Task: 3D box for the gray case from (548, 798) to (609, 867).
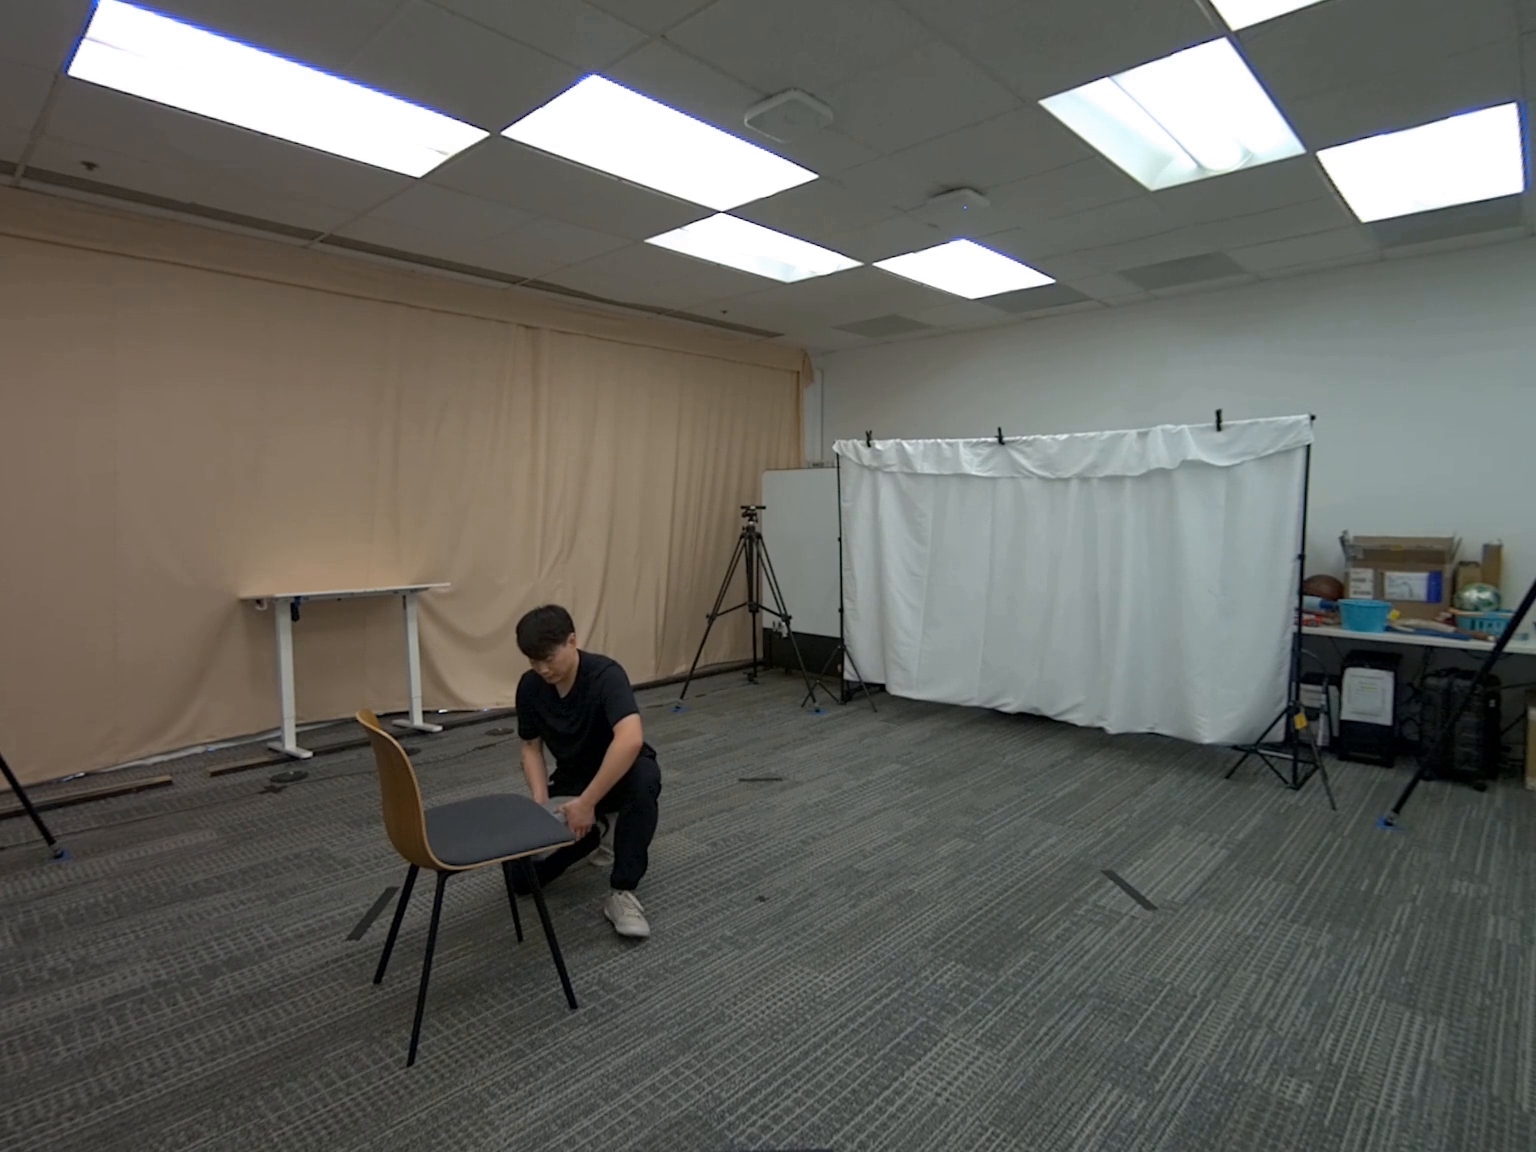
[{"bbox_3d":[-0.747,0.837,2.831,0.255,0.104,0.263,-27,7,-41],"label":"gray case"}]
